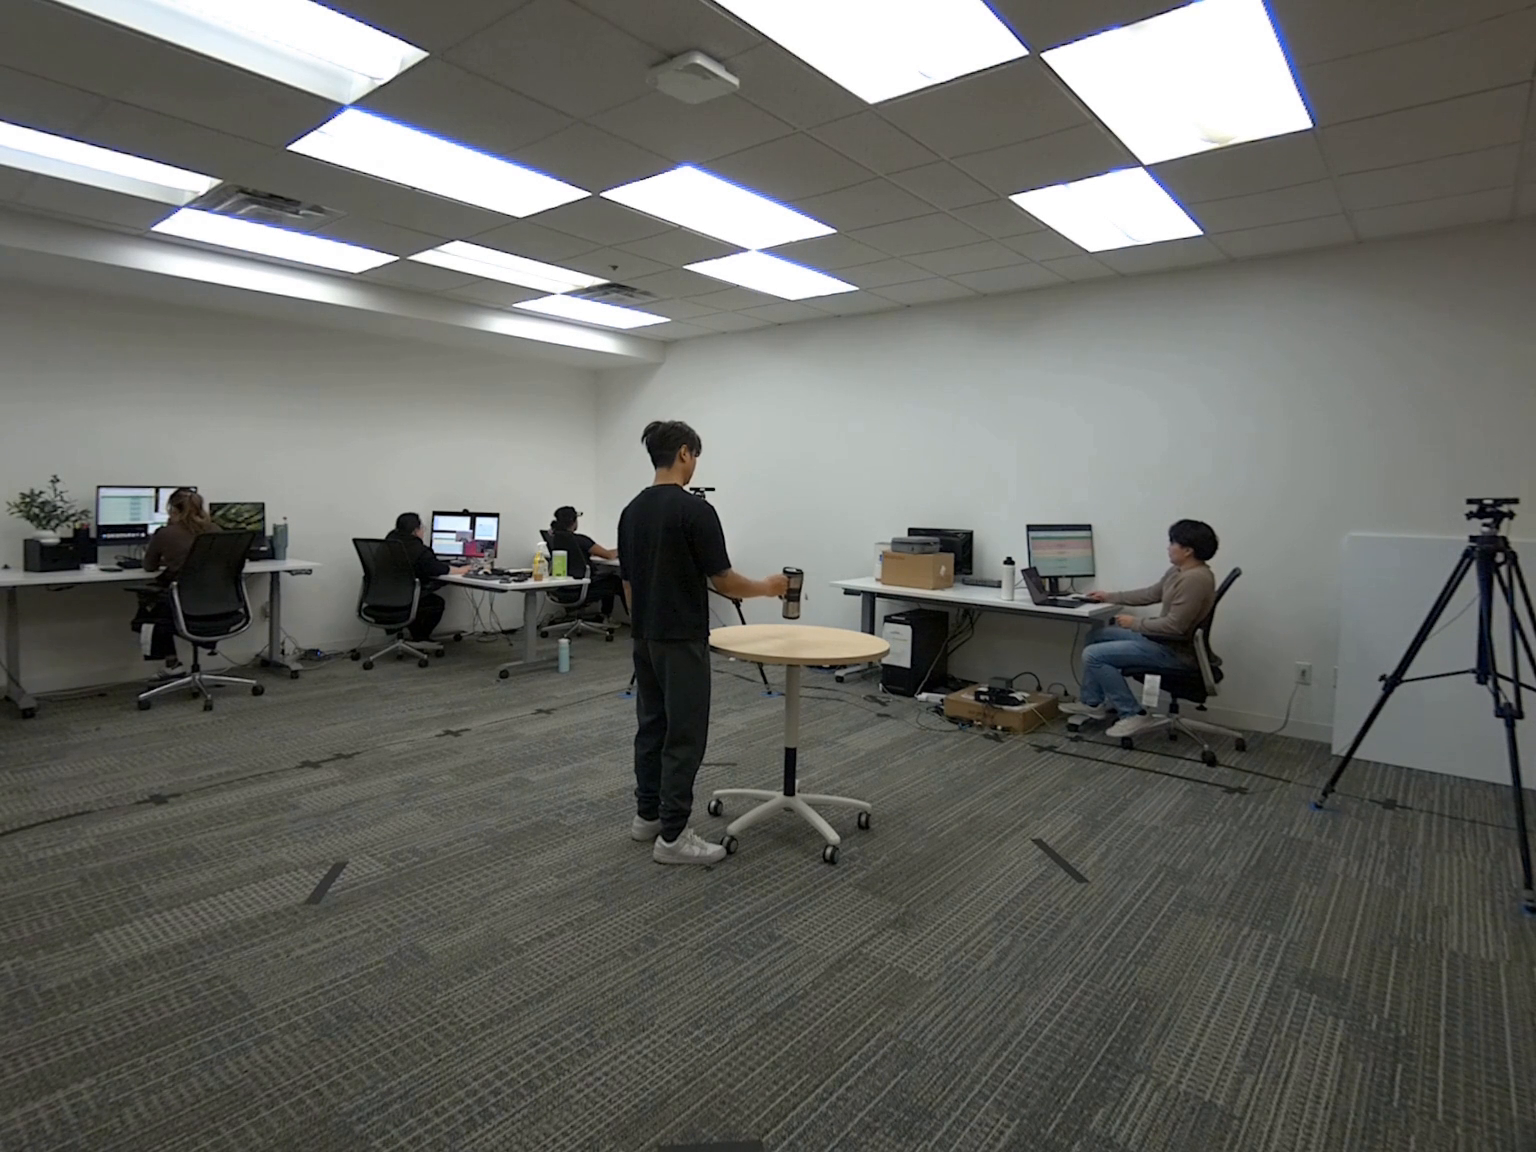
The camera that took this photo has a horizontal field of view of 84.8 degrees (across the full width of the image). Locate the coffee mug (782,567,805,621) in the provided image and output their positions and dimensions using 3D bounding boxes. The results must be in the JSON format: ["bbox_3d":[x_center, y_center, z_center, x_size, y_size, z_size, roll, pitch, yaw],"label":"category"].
[{"bbox_3d":[0.072,0.065,3.467,0.126,0.201,0.086,13,15,32],"label":"coffee mug"}]
